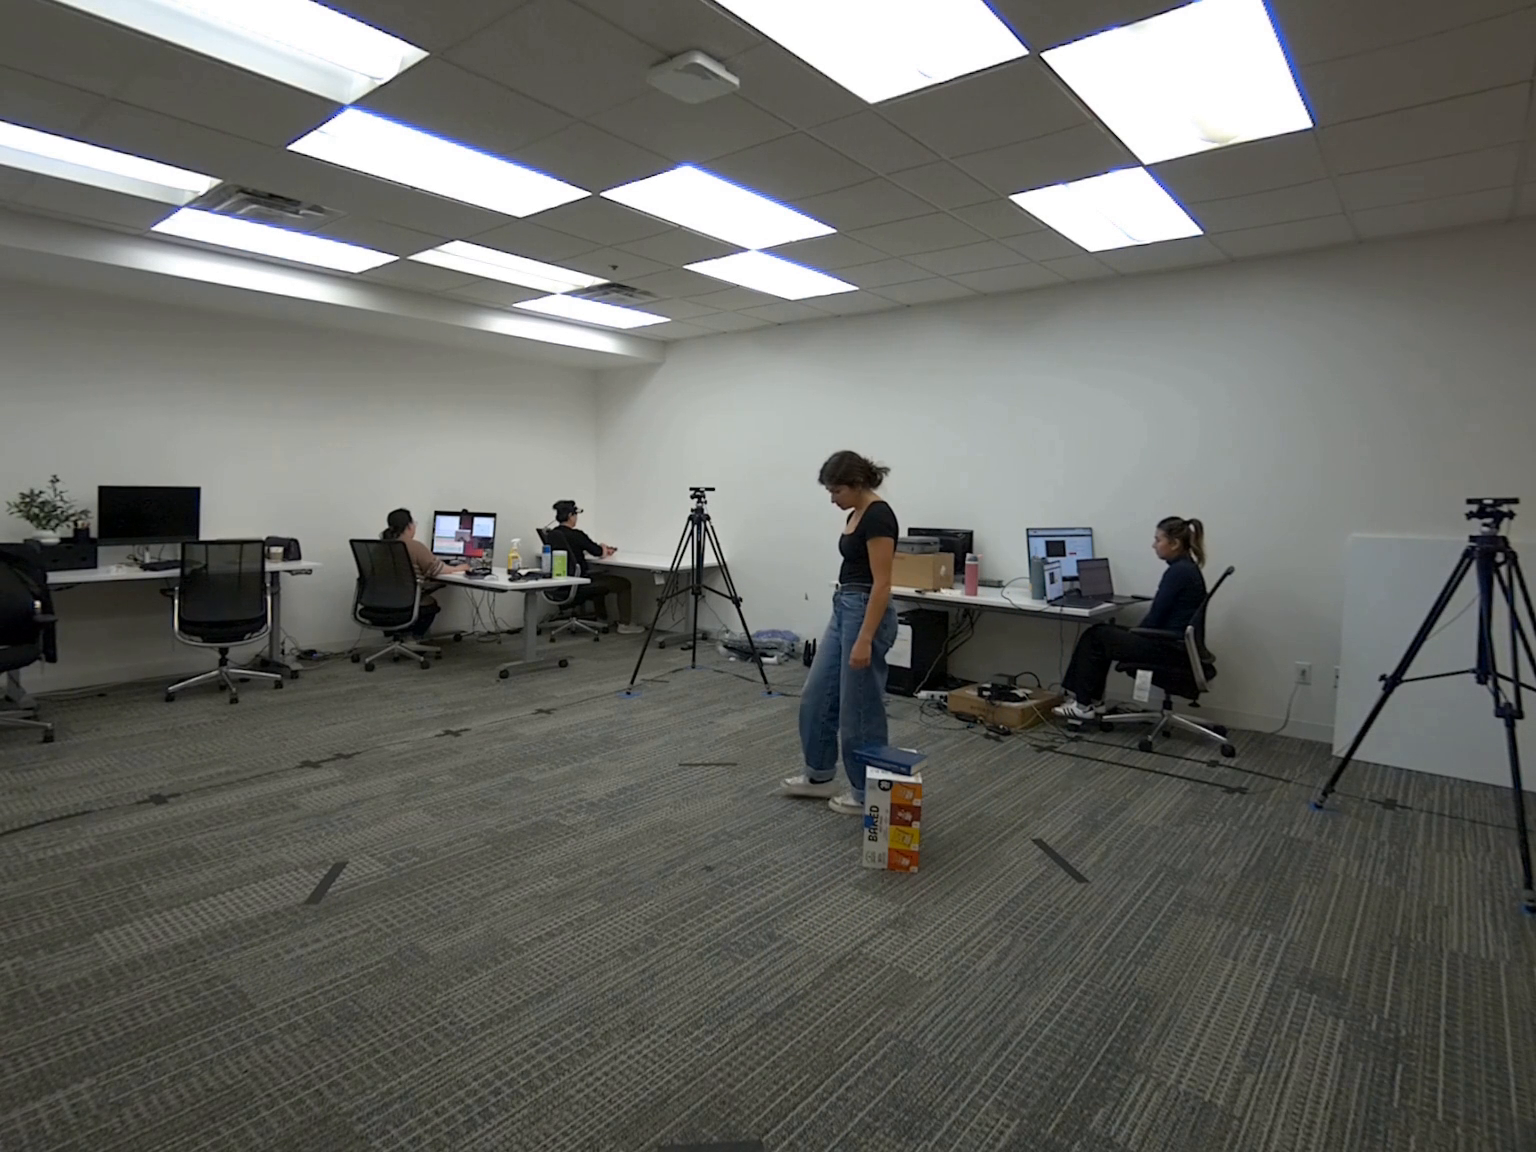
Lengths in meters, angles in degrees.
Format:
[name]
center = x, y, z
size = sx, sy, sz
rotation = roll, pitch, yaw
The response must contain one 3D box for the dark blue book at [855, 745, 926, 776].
[dark blue book]
center = 0.470, 0.703, 3.295
size = 0.253, 0.045, 0.159
rotation = 6, 6, 35
